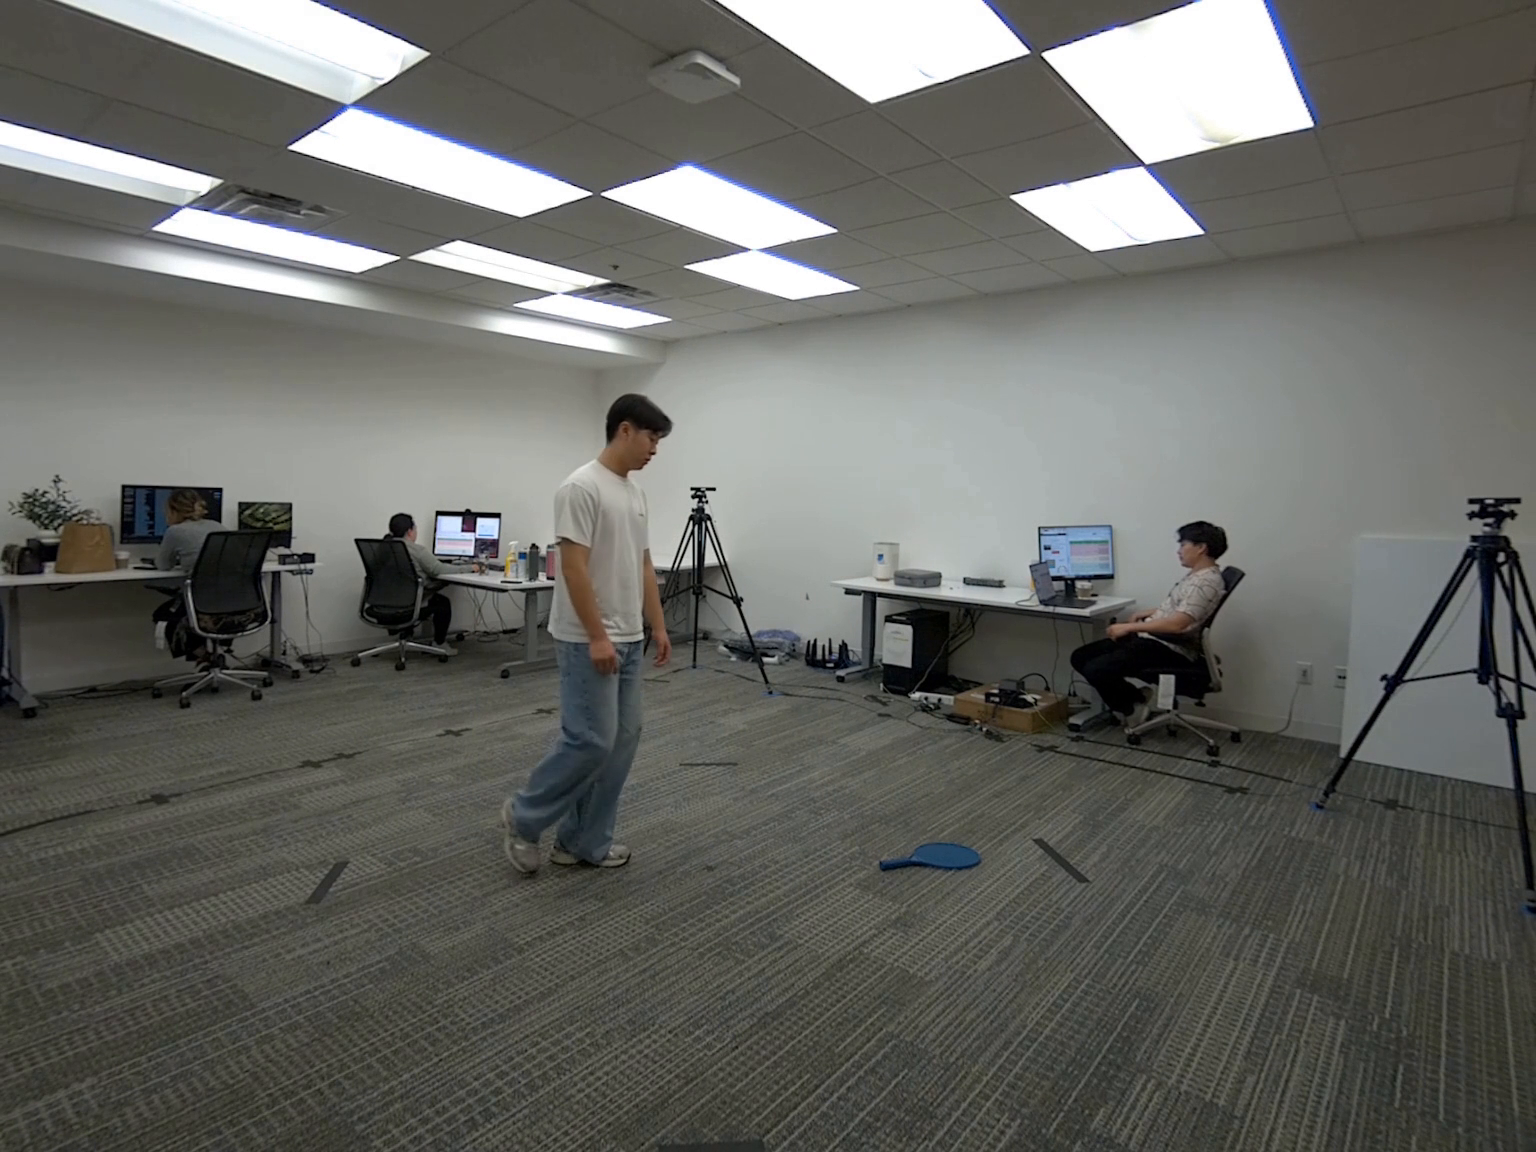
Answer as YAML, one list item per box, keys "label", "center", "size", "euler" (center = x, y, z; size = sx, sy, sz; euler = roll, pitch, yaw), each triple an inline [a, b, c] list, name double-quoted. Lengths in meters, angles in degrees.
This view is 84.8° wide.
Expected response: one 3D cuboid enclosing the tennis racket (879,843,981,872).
- label: "tennis racket"
  center: [0.606, 1.063, 3.220]
  size: [0.423, 0.031, 0.219]
  euler: [0, 6, -23]
